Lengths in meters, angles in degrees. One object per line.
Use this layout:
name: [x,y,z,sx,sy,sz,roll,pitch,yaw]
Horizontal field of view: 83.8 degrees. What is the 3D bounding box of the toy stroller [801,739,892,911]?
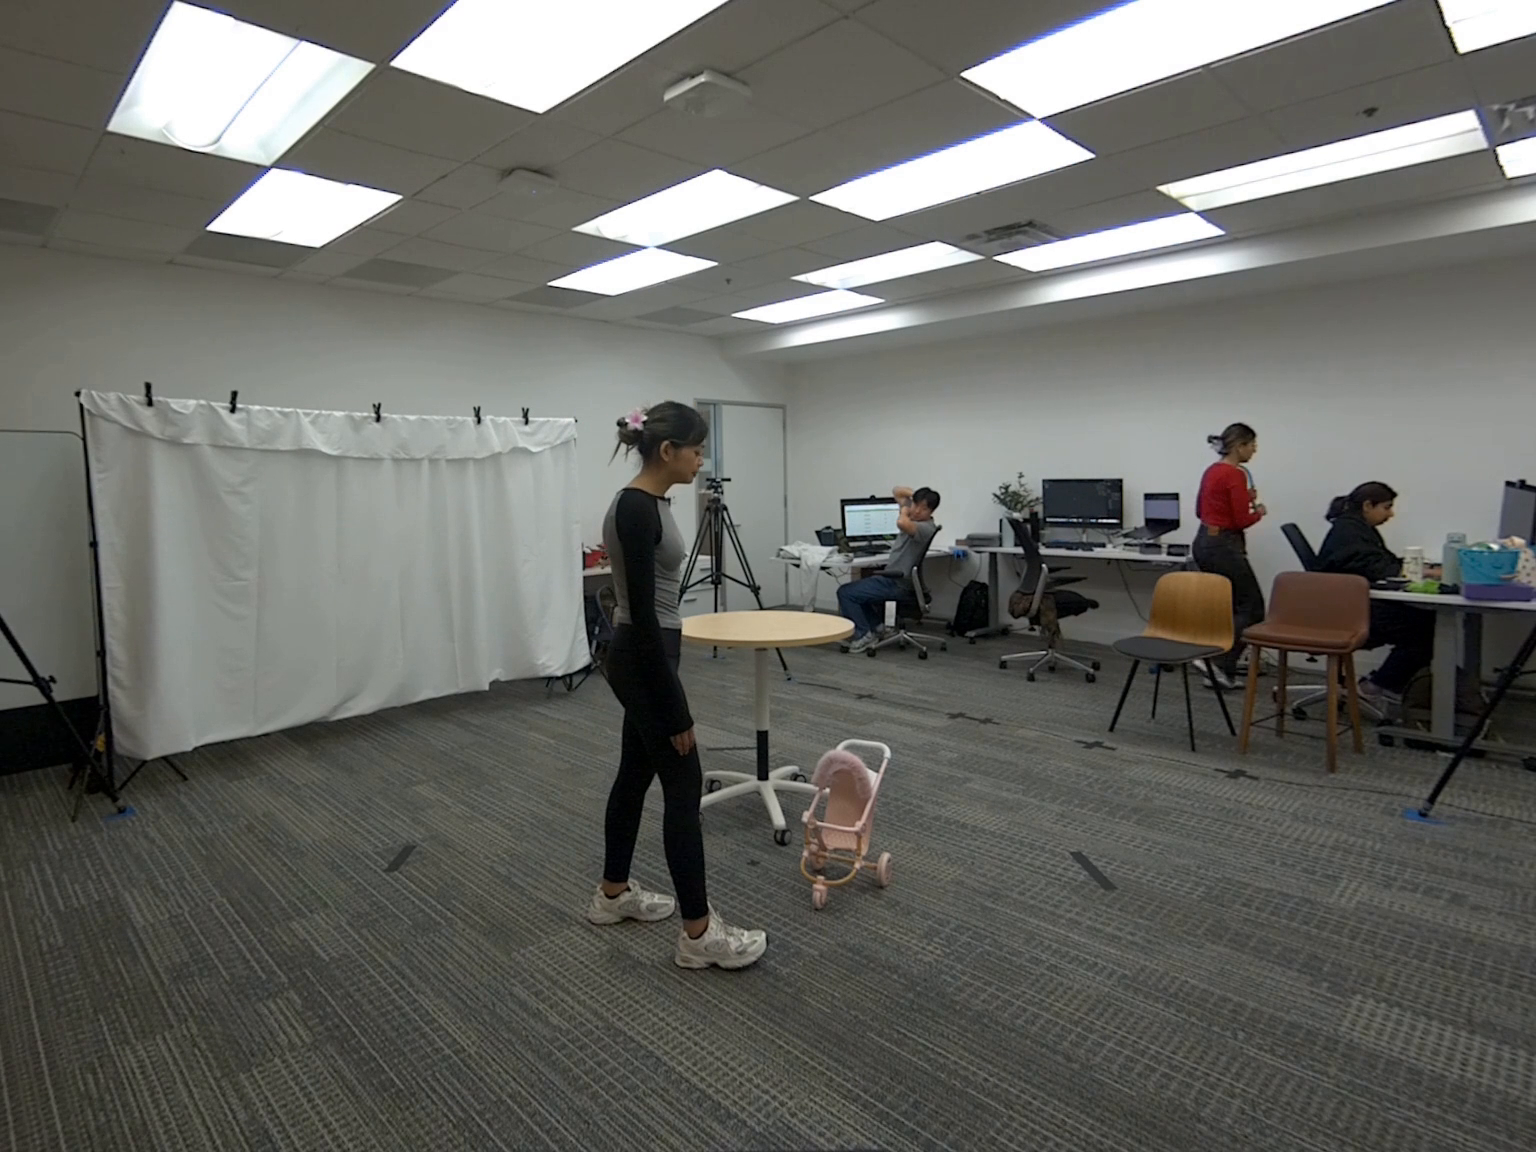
toy stroller: [0.253,0.833,2.916,0.289,0.539,0.329,0,-11,34]
